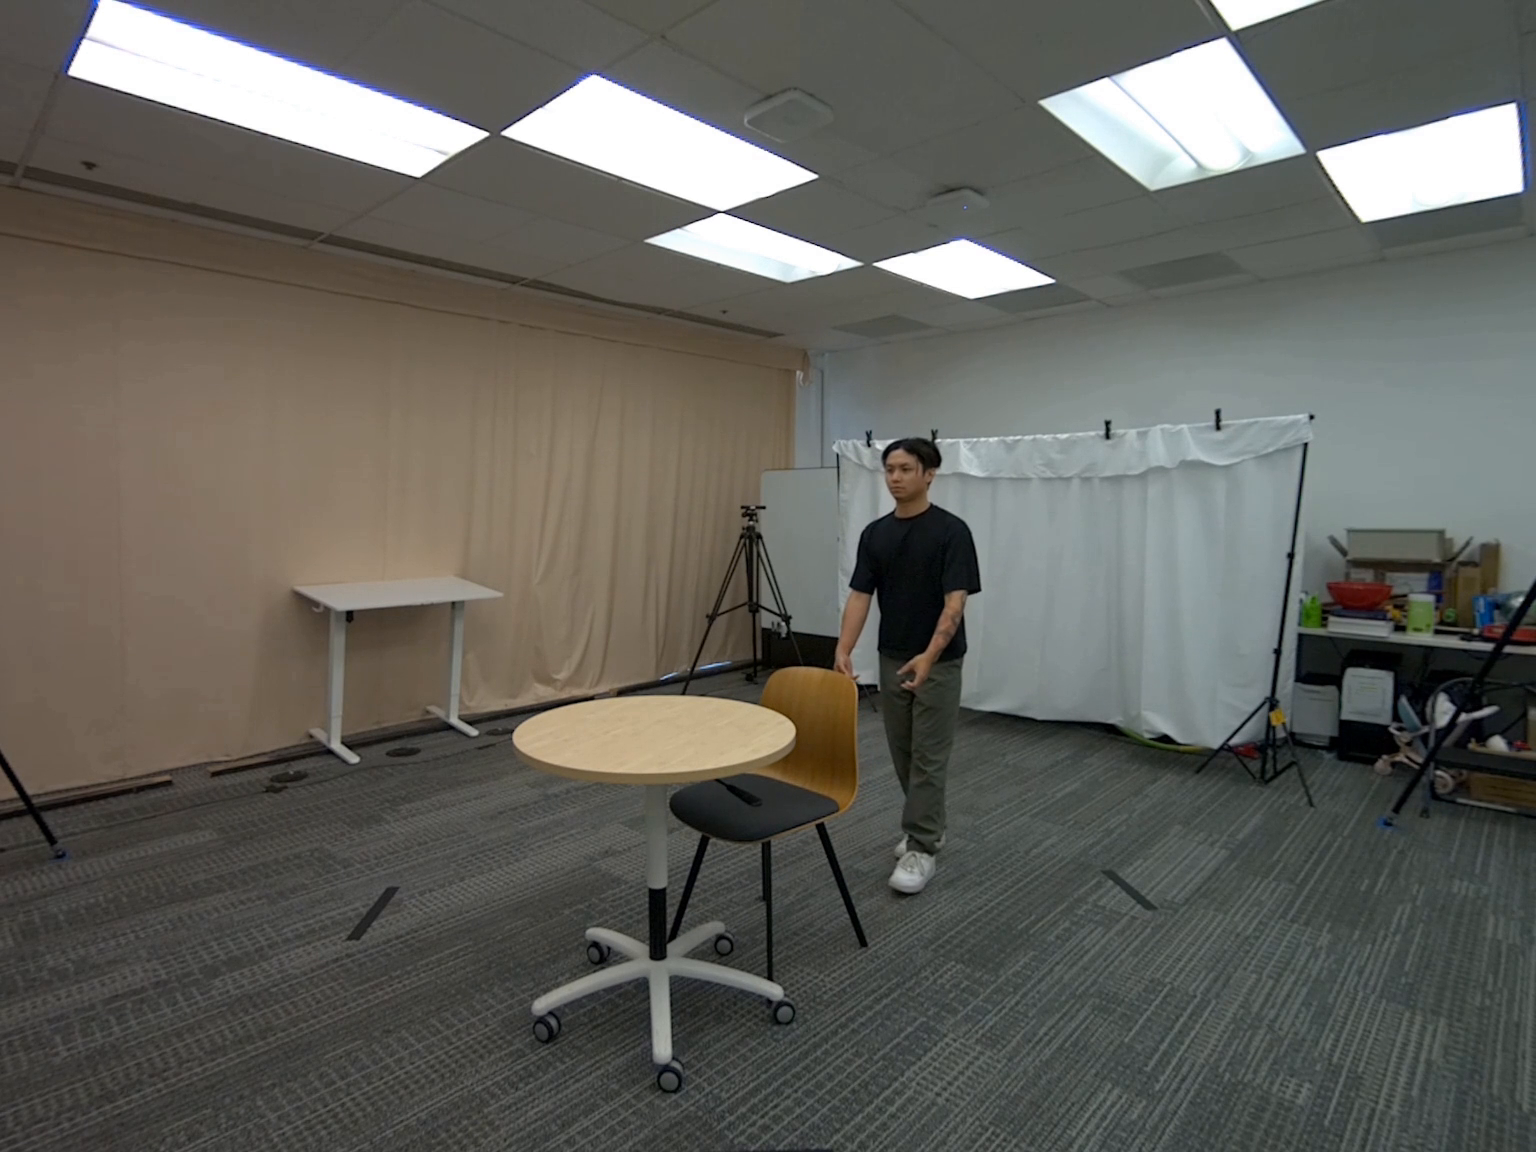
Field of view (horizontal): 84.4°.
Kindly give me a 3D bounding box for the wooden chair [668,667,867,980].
[{"bbox_3d":[-0.003,0.748,2.632,0.506,0.877,0.494,2,1,-45],"label":"wooden chair"}]
